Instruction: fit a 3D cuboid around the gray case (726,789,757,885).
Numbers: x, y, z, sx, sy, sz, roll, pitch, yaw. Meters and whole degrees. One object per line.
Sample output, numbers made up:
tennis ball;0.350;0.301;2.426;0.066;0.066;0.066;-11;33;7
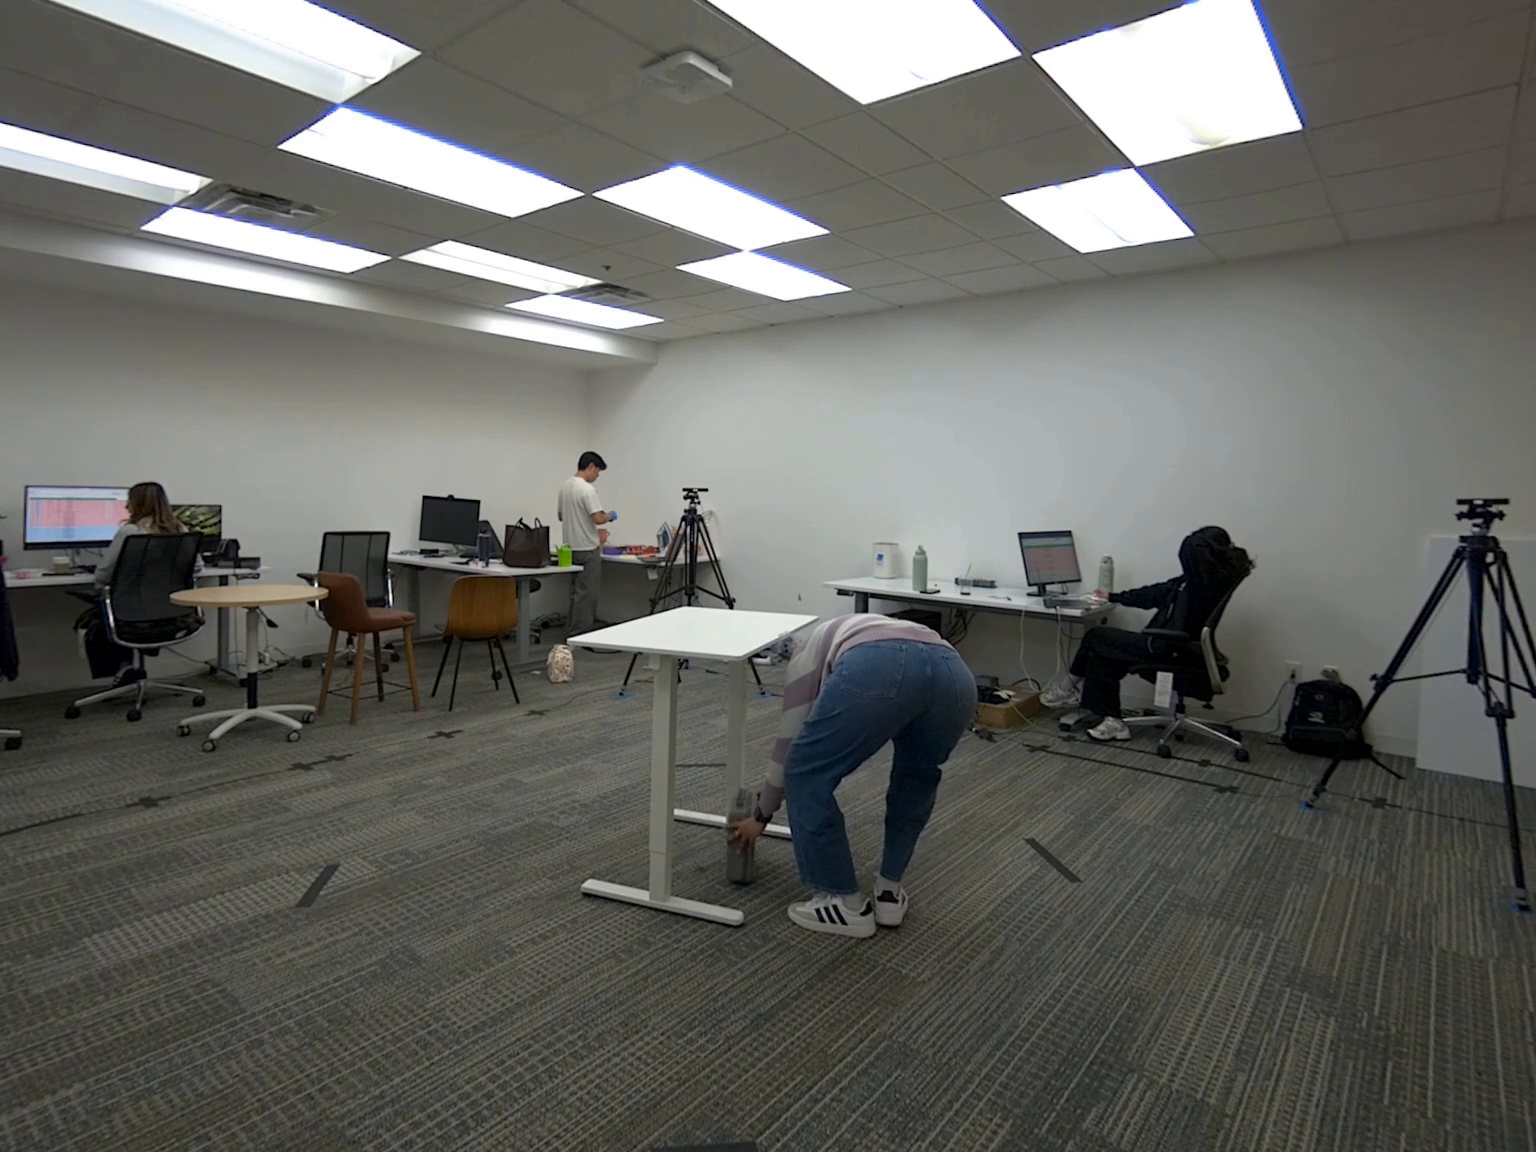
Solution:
gray case;-0.105;0.933;3.084;0.105;0.260;0.256;4;5;4
